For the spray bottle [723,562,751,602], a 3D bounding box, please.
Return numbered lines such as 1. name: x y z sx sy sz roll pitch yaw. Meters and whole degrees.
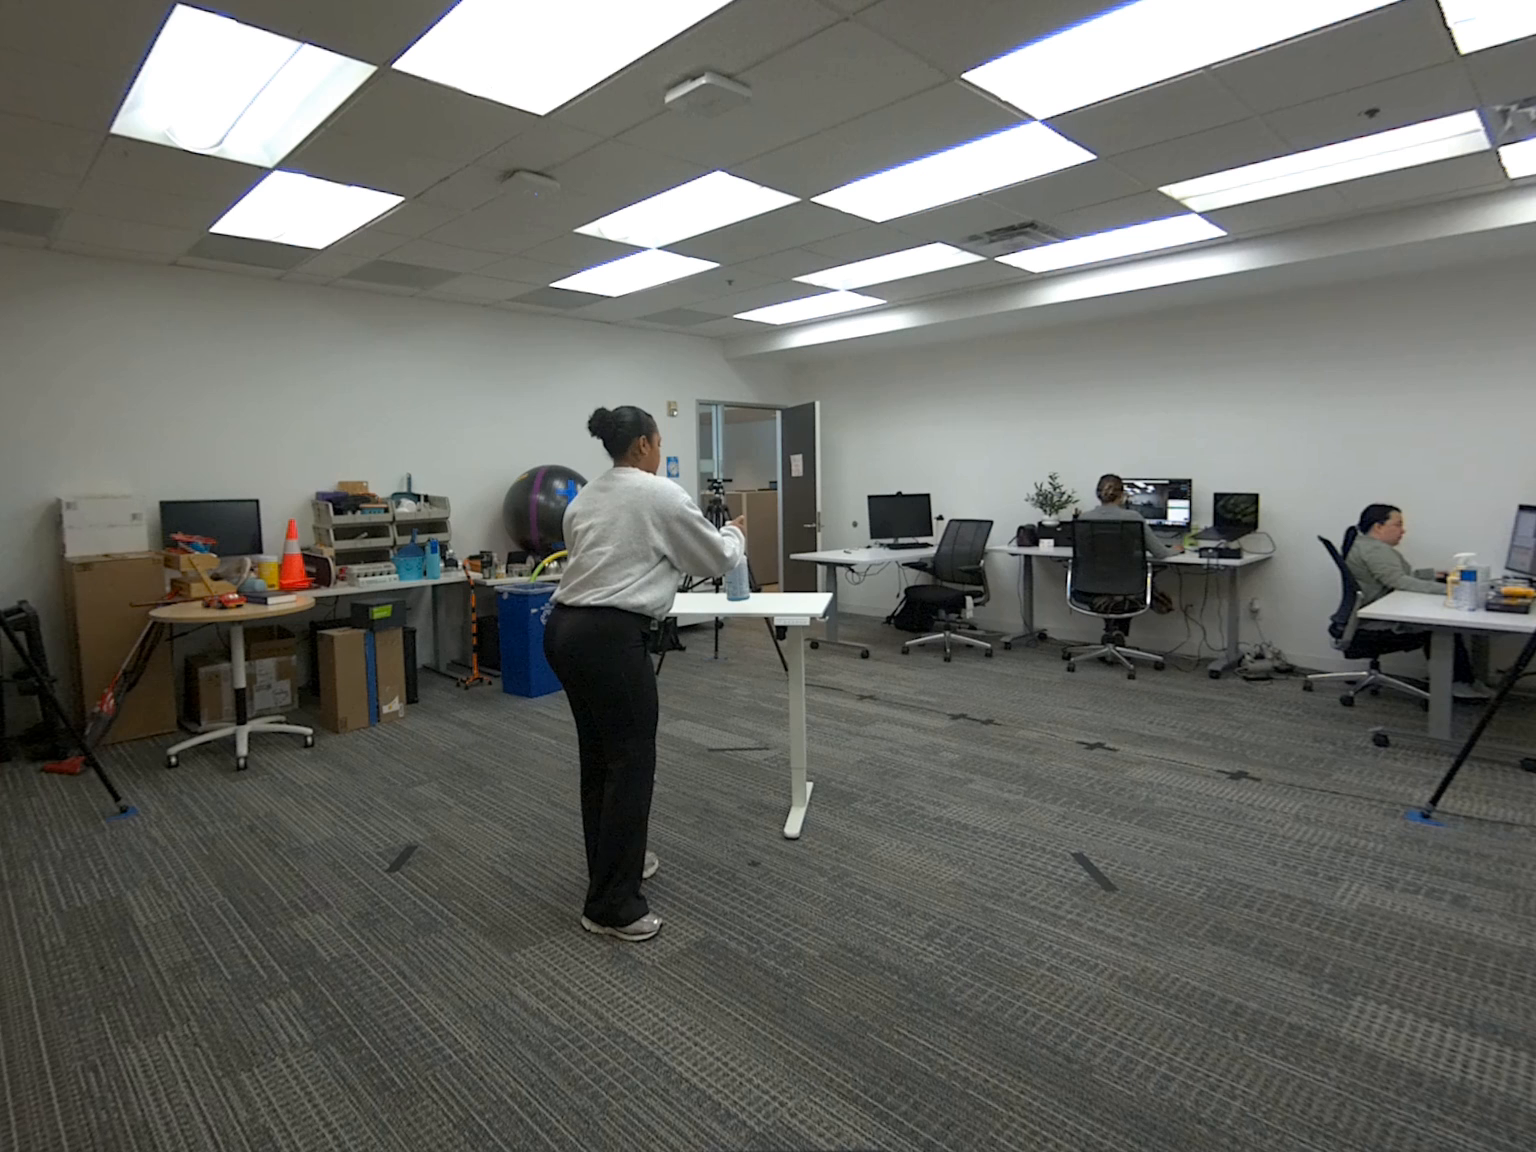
1. spray bottle: -0.117 -0.029 3.167 0.089 0.295 0.088 2 8 43
